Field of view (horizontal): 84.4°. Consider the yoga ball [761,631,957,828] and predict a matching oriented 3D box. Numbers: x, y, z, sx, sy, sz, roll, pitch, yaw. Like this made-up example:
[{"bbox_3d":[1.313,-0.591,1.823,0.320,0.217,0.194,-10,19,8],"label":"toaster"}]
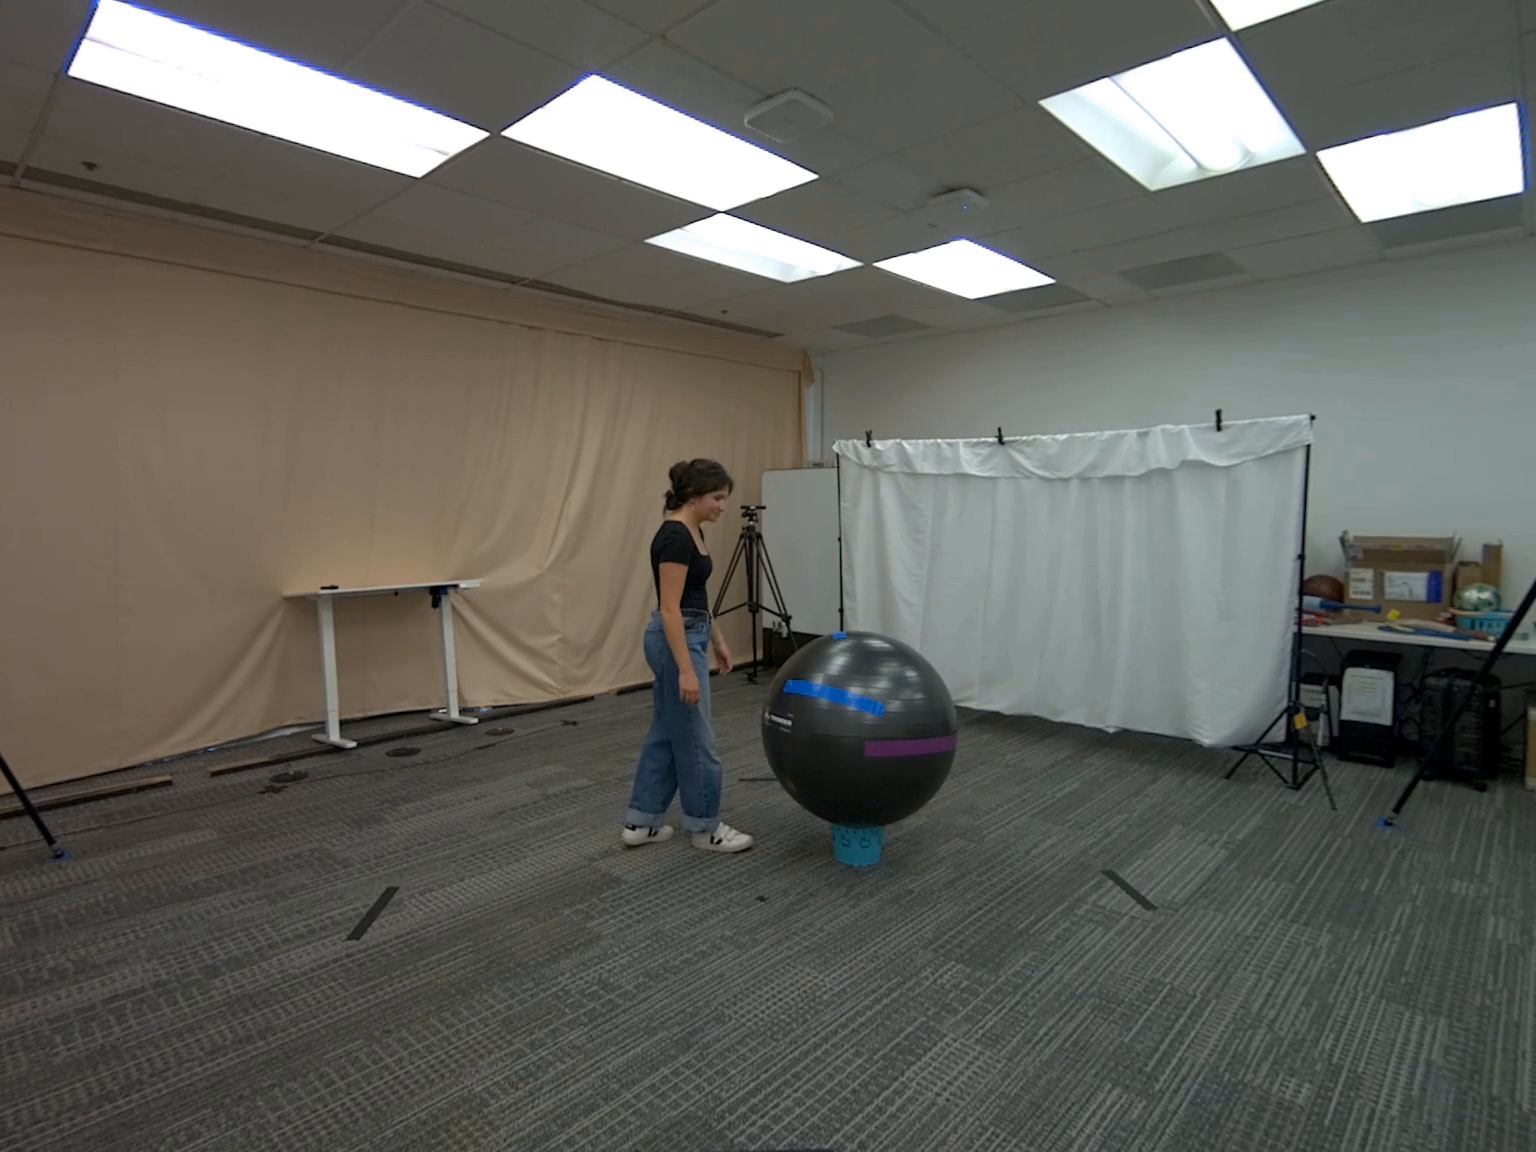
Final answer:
[{"bbox_3d":[0.365,0.604,3.334,0.757,0.756,0.760,0,4,-2],"label":"yoga ball"}]
